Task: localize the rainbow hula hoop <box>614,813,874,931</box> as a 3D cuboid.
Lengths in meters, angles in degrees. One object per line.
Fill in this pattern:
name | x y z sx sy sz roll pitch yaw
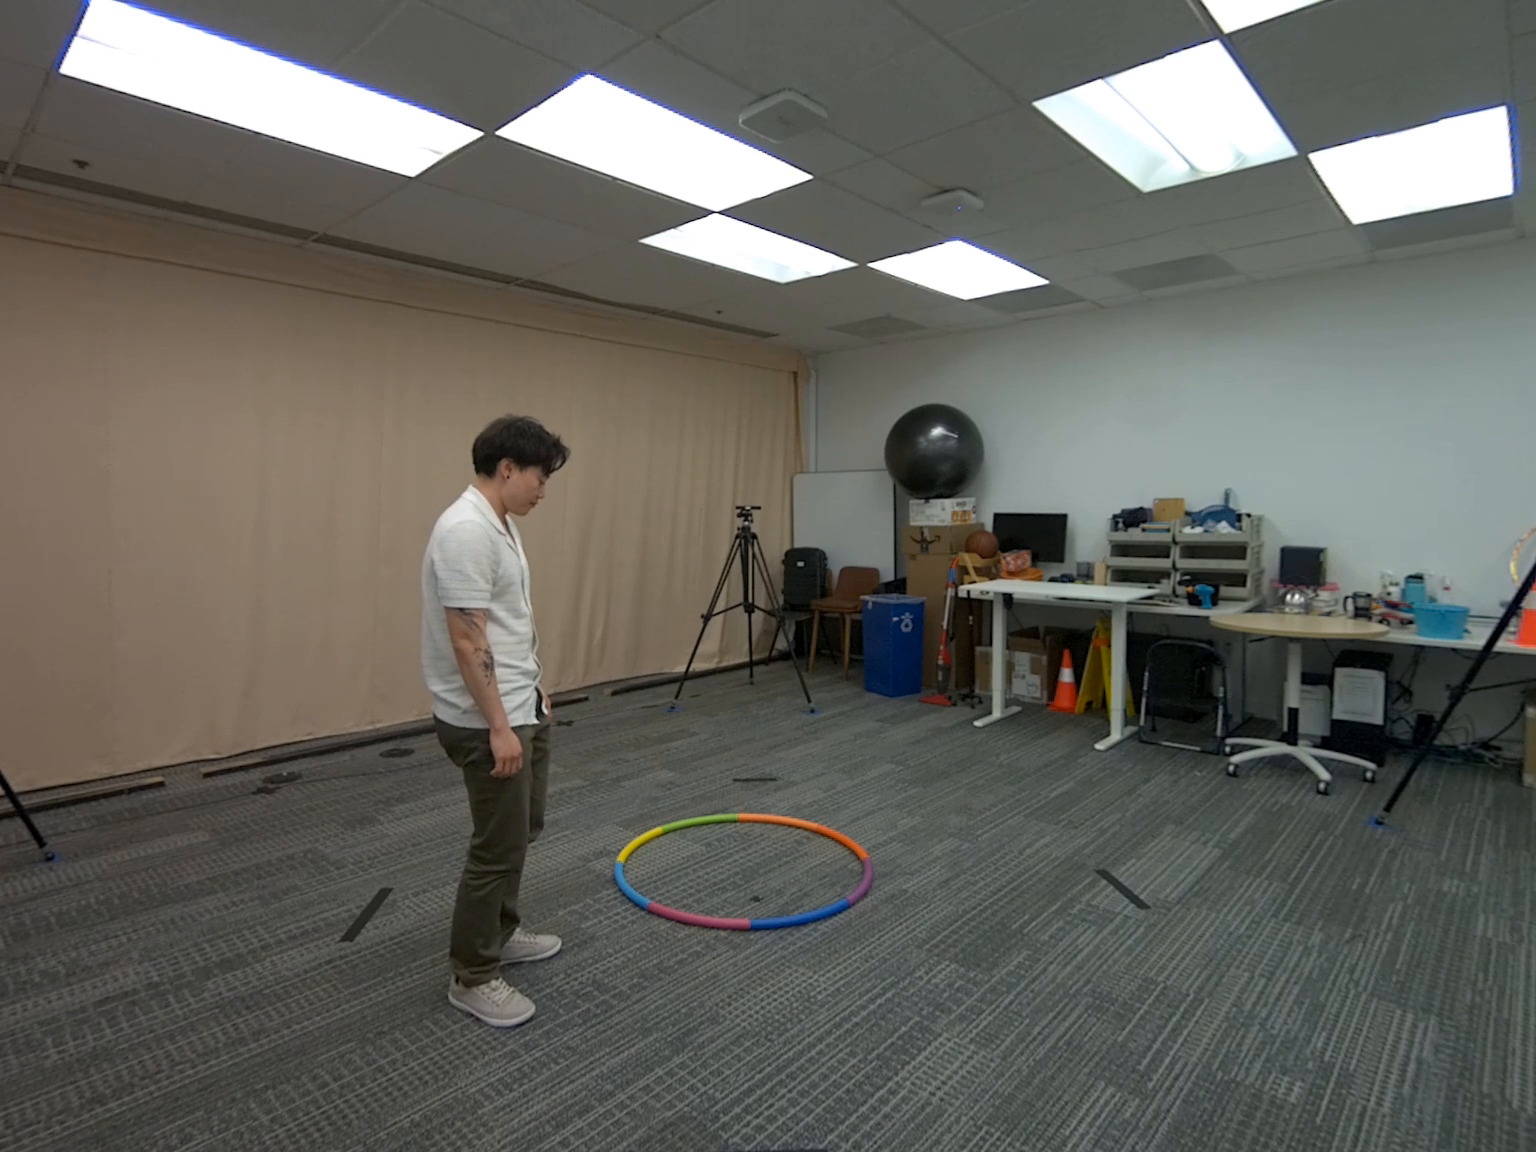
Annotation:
rainbow hula hoop | -0.095 1.093 3.241 0.978 0.035 0.982 0 5 -2
